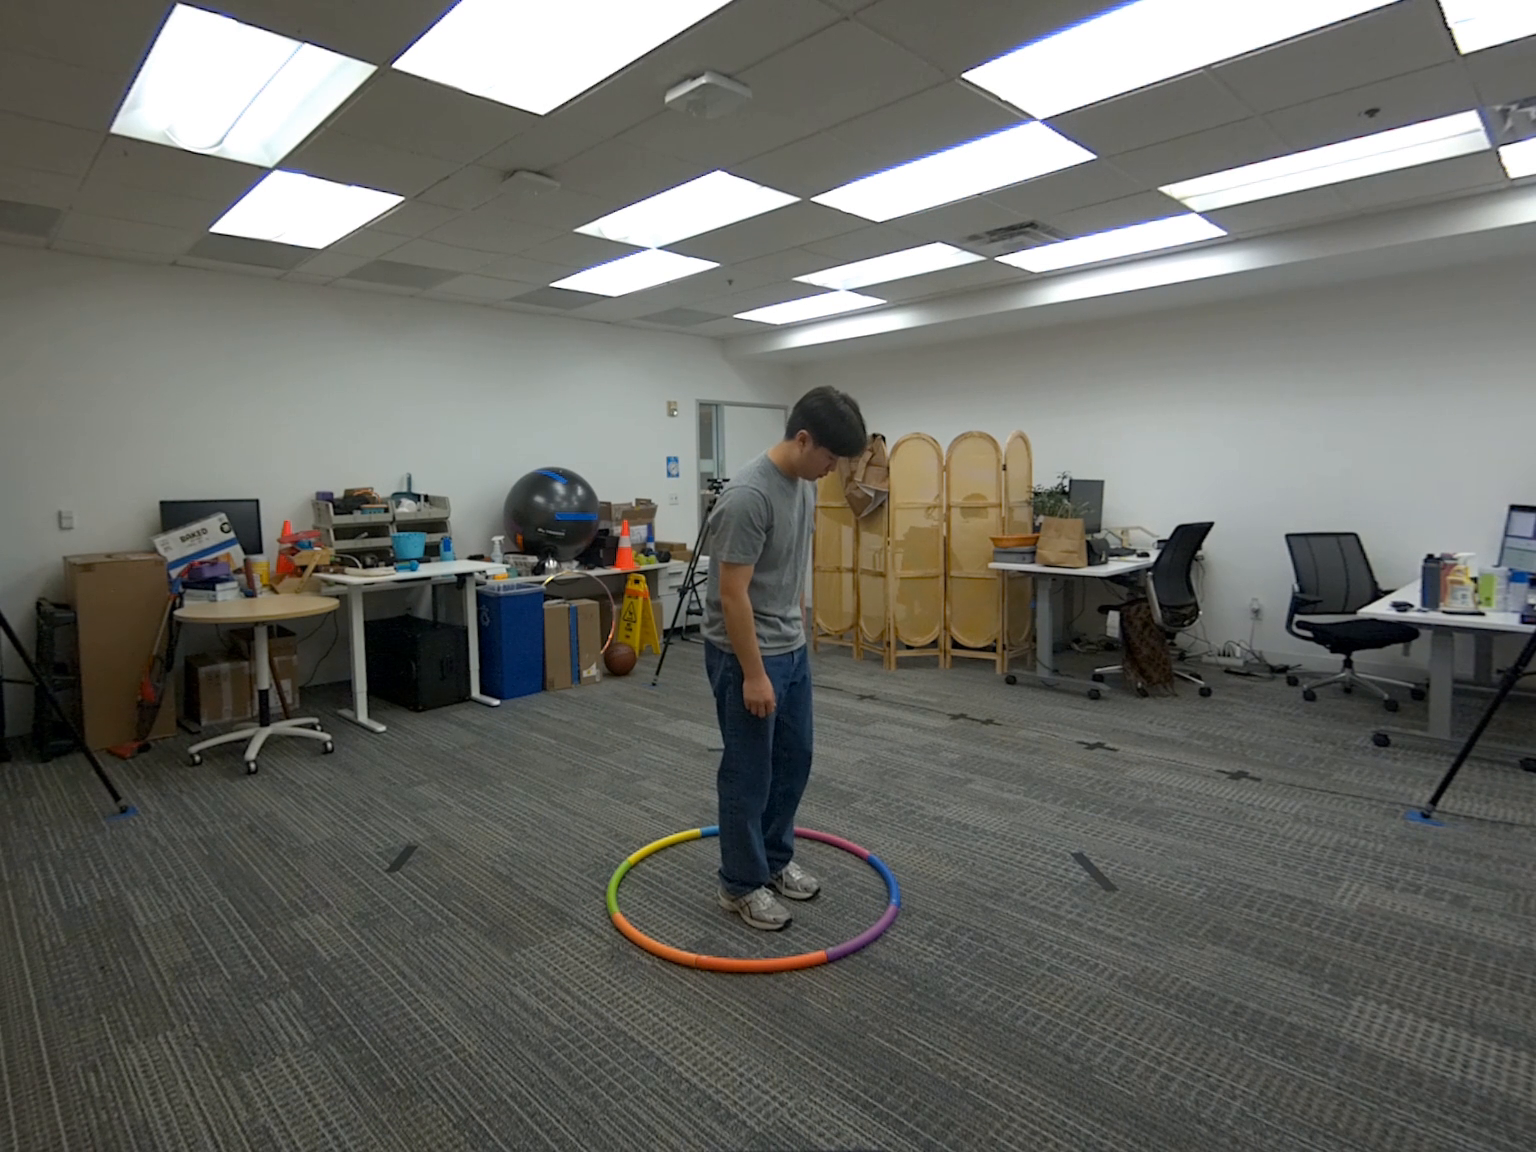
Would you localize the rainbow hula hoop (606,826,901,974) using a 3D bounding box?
[{"bbox_3d":[-0.055,1.040,2.899,0.978,0.035,0.984,-1,7,-2],"label":"rainbow hula hoop"}]
